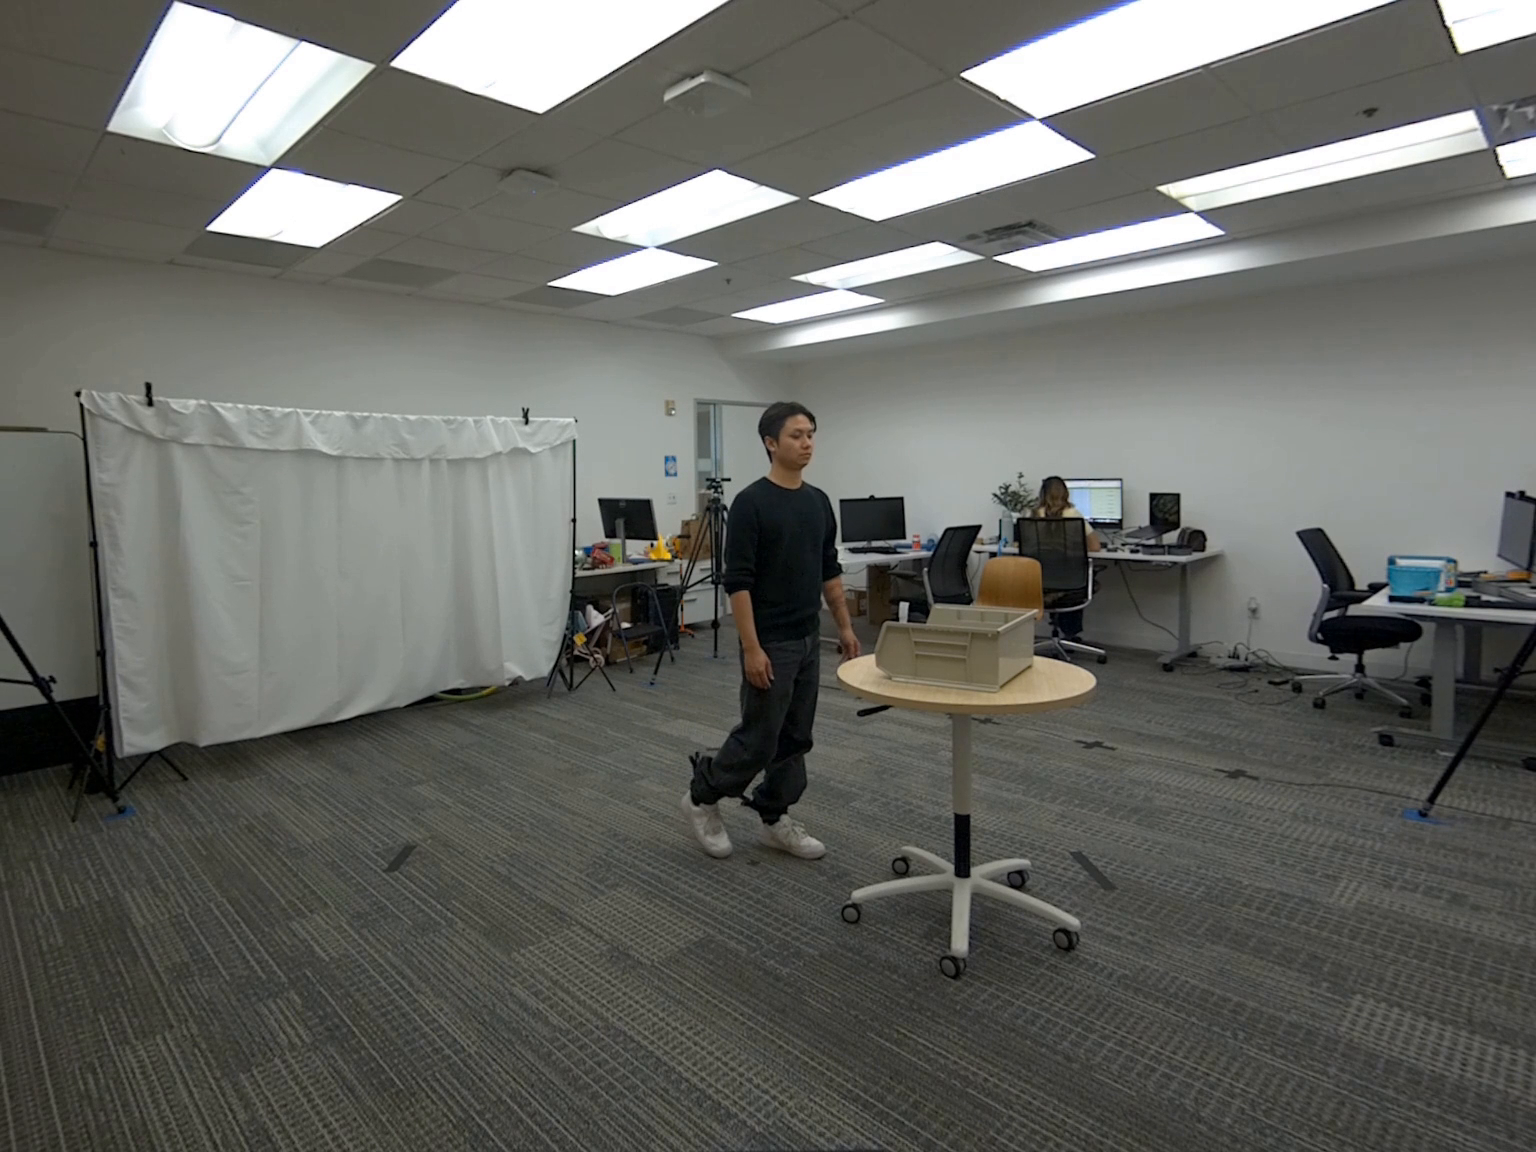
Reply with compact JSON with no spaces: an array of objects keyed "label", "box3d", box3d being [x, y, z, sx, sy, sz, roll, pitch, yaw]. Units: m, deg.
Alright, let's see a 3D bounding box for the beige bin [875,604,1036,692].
[{"label":"beige bin","box3d":[0.597,0.215,2.639,0.388,0.188,0.413,3,7,32]}]
